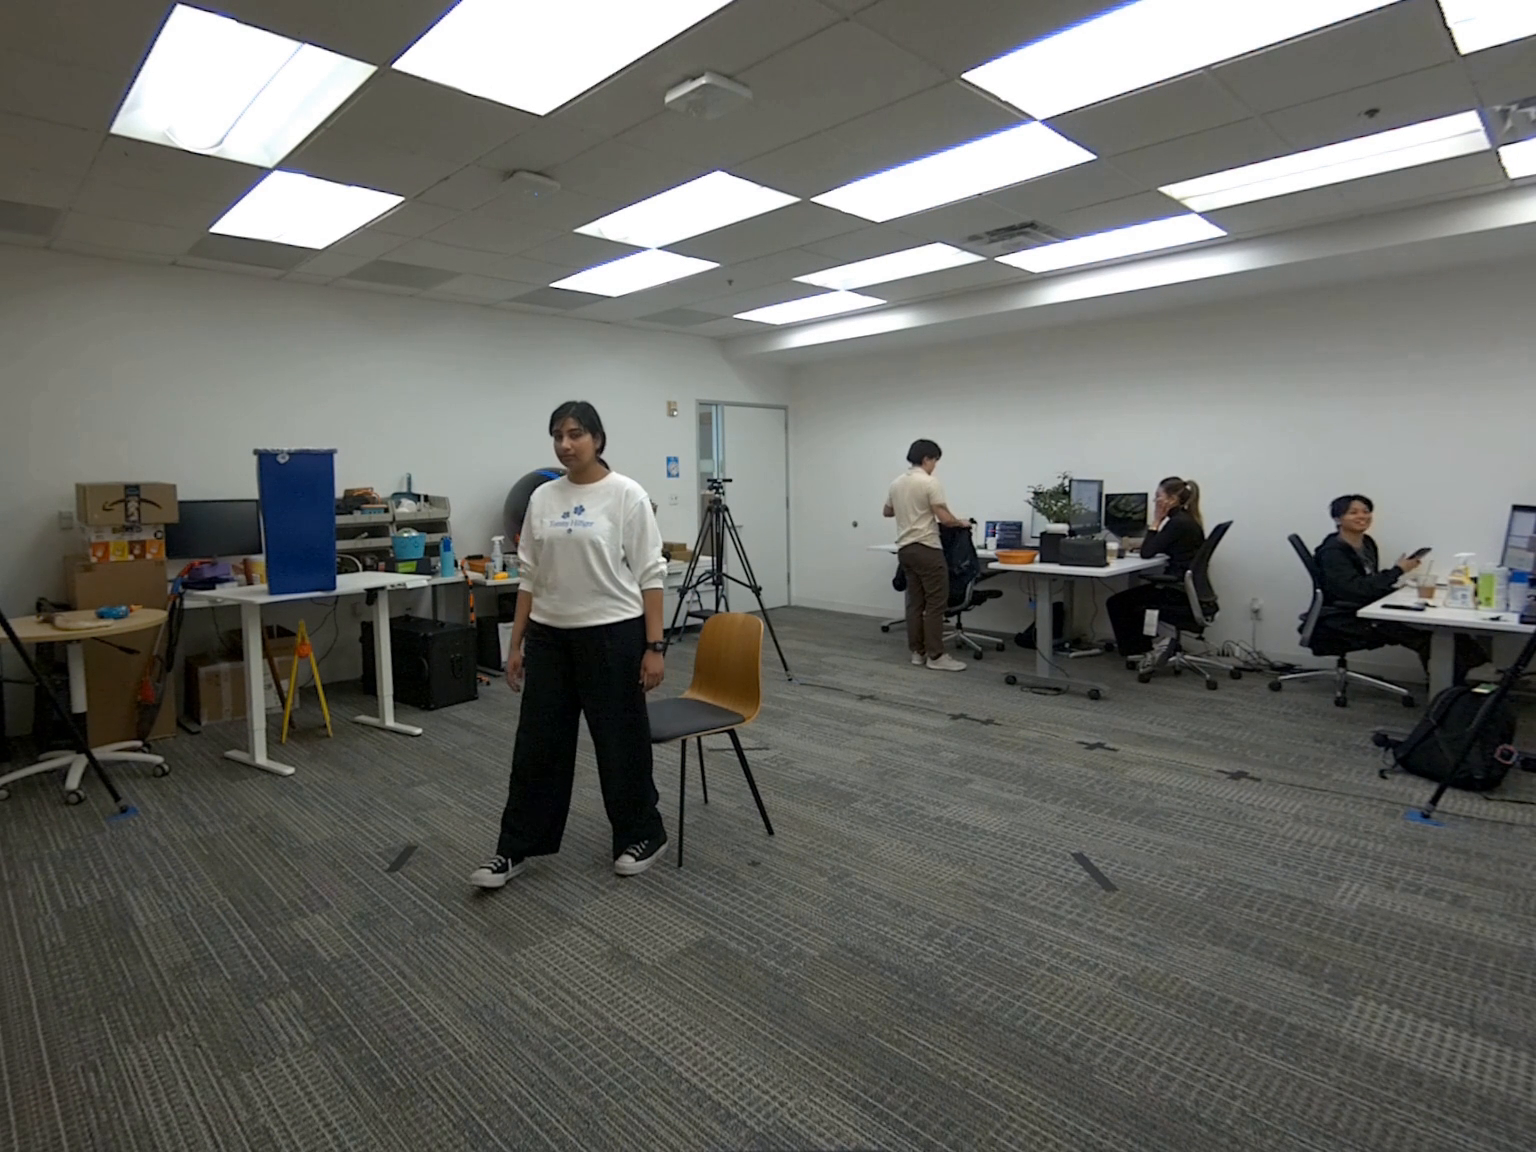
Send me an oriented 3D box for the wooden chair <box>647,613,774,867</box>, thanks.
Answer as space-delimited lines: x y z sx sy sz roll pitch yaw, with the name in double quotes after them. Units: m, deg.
-0.301 0.592 3.361 0.508 0.876 0.492 1 2 -39 "wooden chair"
